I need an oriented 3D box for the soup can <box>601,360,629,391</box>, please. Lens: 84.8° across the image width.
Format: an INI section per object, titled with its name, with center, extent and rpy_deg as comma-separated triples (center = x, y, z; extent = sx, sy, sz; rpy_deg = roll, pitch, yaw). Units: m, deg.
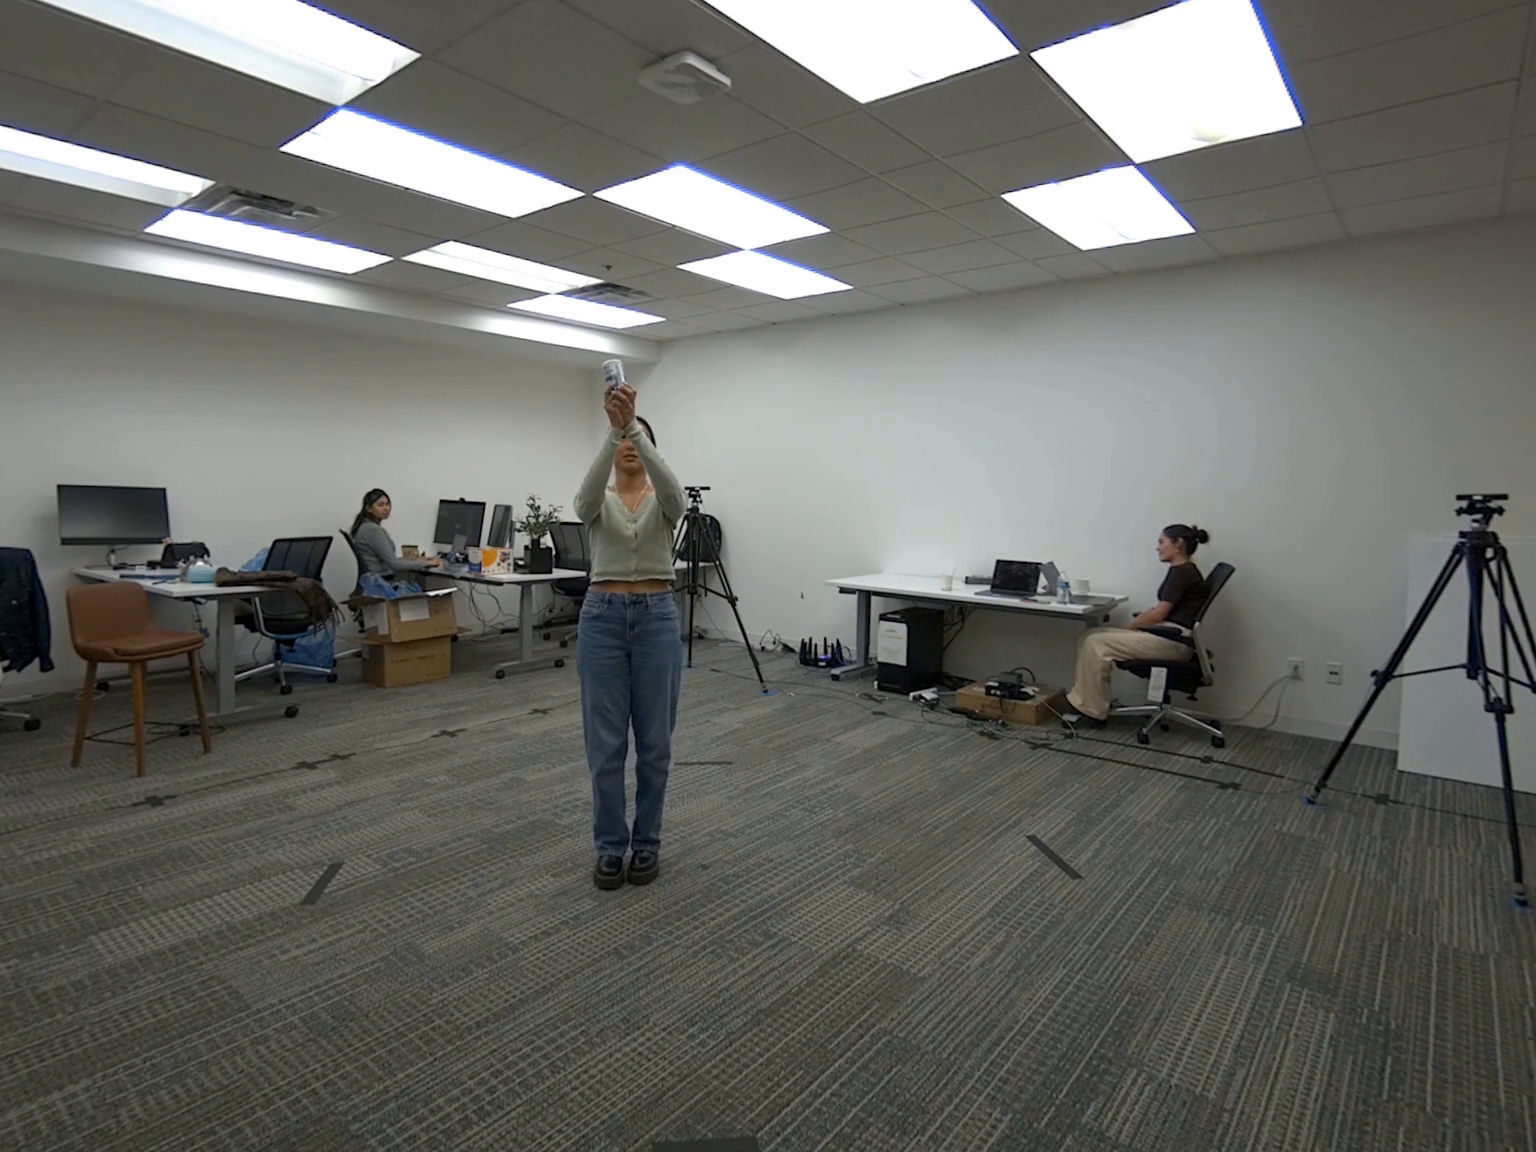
[soup can]
center = -0.498, -0.636, 2.761
extent = 0.067, 0.122, 0.067
rpy_deg = -13, -4, -3
